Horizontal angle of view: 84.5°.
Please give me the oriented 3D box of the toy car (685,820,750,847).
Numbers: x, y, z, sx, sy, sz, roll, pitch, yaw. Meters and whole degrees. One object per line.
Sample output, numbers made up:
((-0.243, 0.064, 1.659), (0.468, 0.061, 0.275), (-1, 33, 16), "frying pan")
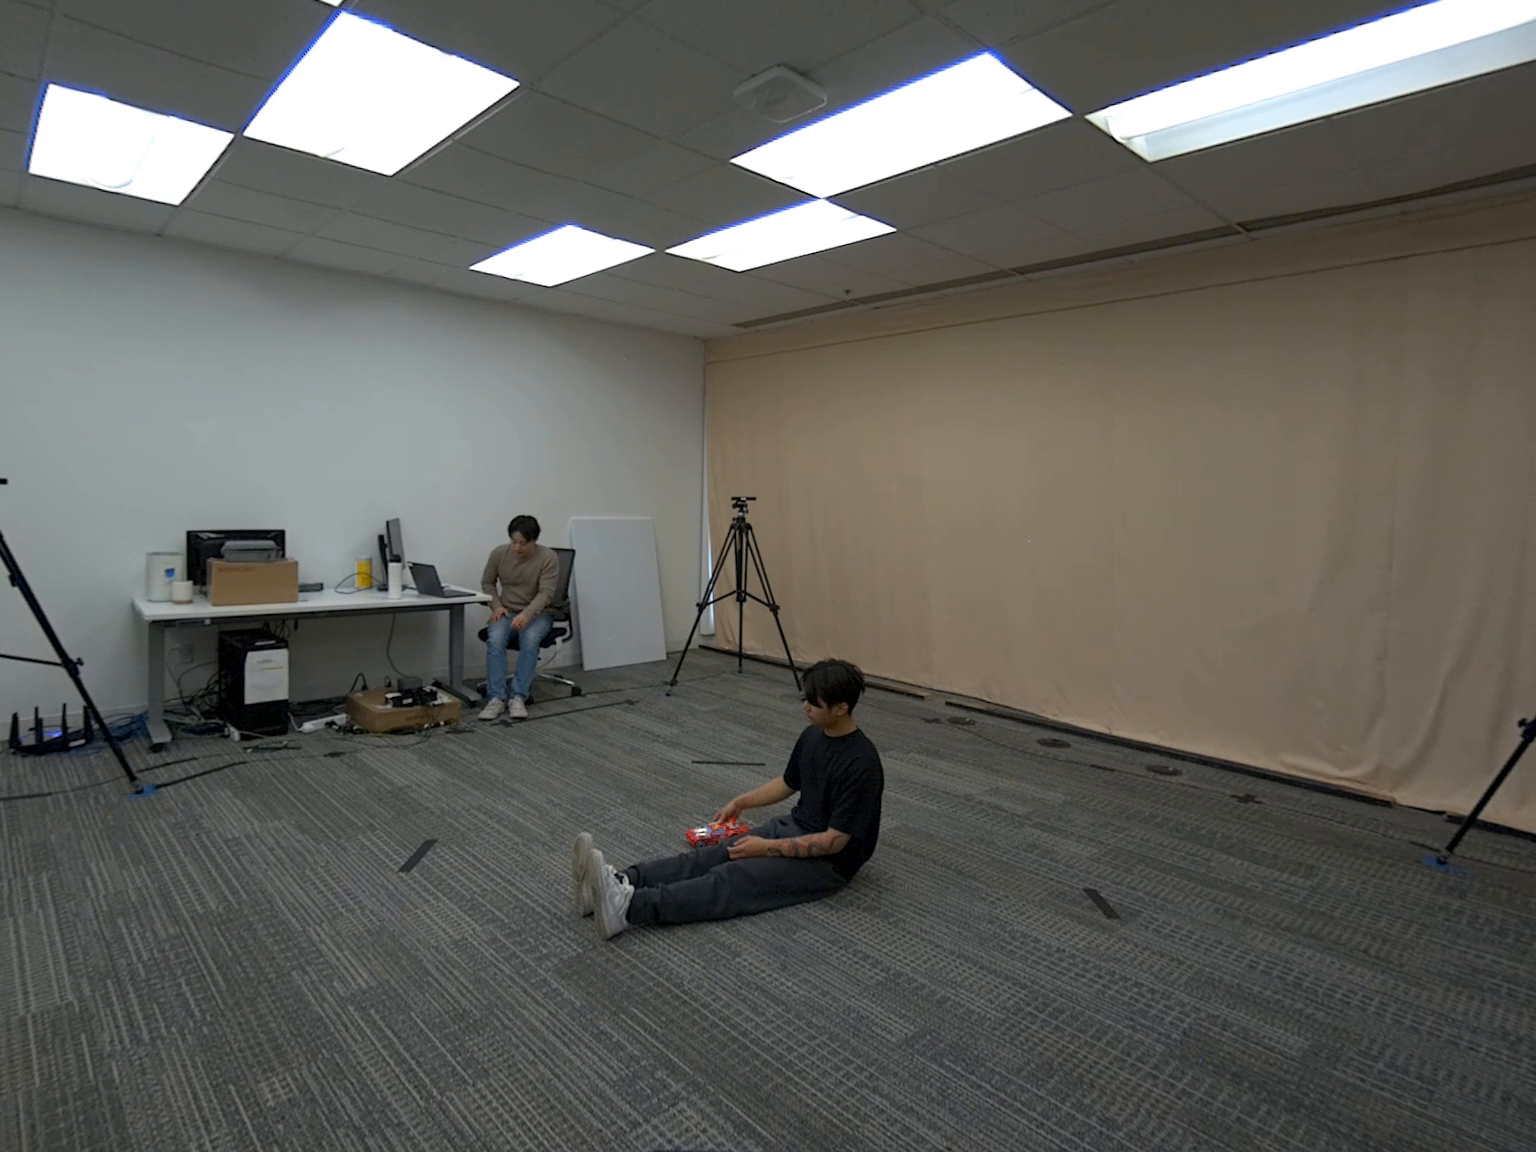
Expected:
((-0.206, 1.045, 3.417), (0.251, 0.083, 0.132), (-8, 7, -20), "toy car")
